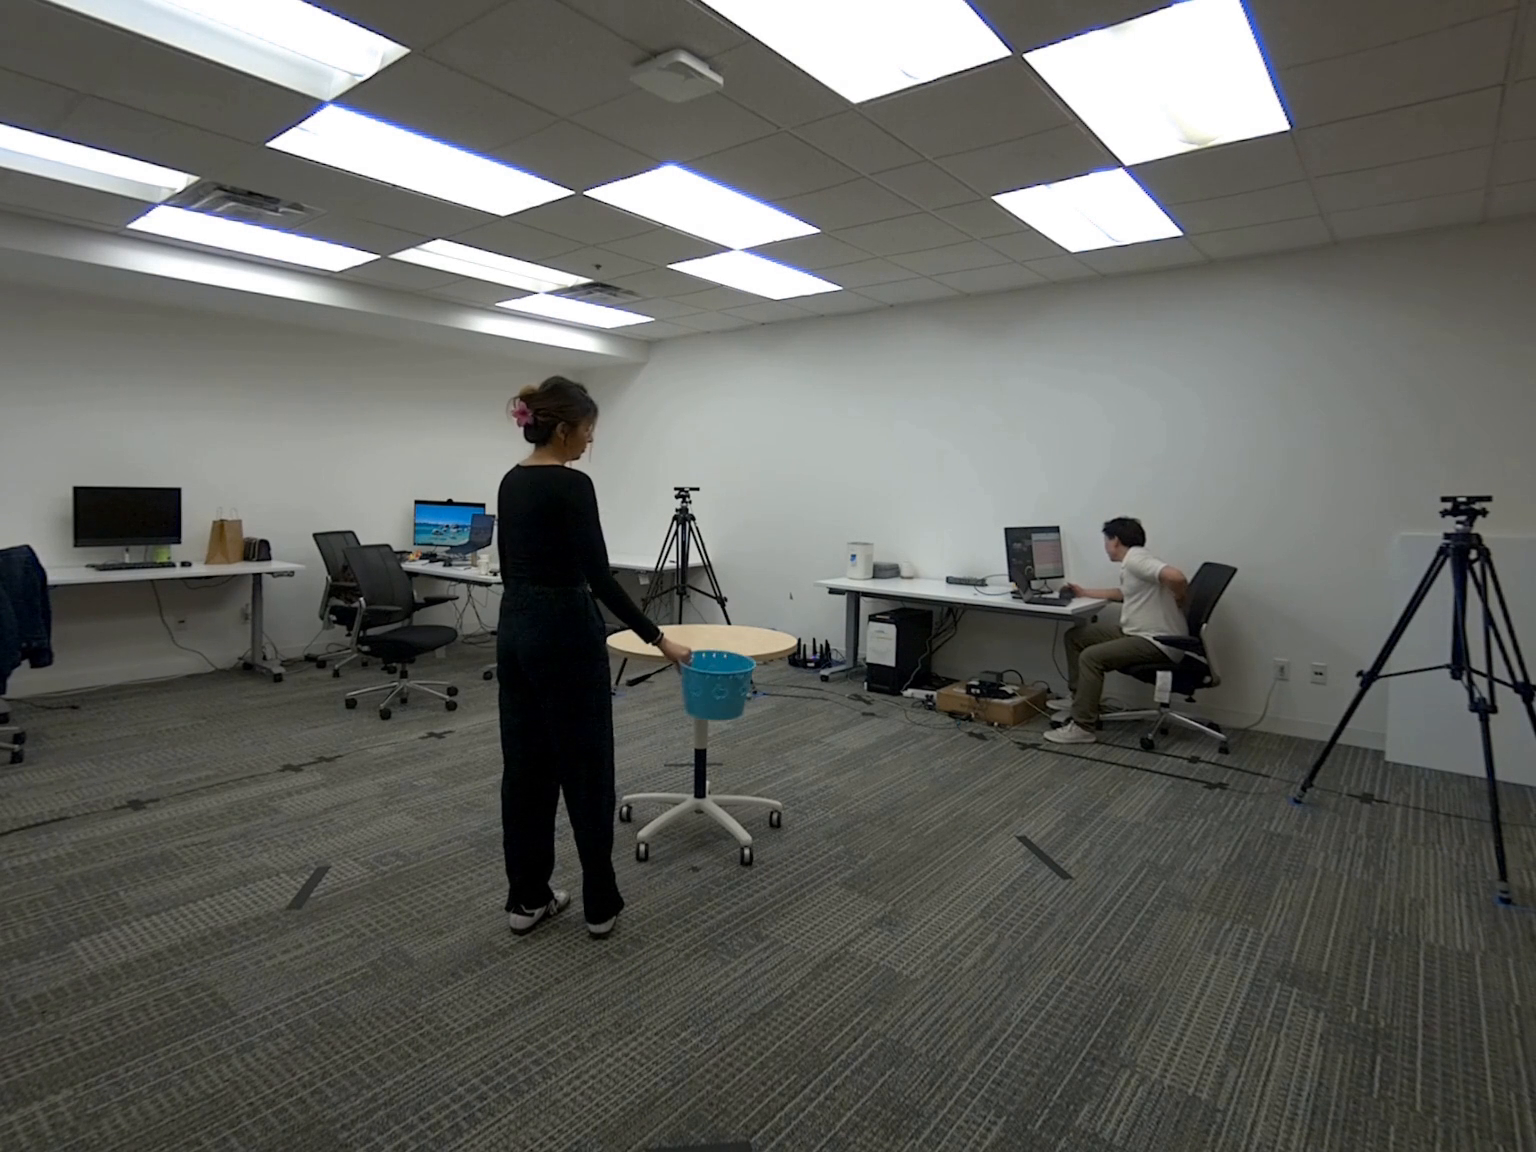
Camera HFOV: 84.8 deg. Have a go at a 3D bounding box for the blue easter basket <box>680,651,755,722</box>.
[{"bbox_3d":[-0.182,0.328,2.550,0.243,0.154,0.246,5,11,-3],"label":"blue easter basket"}]
